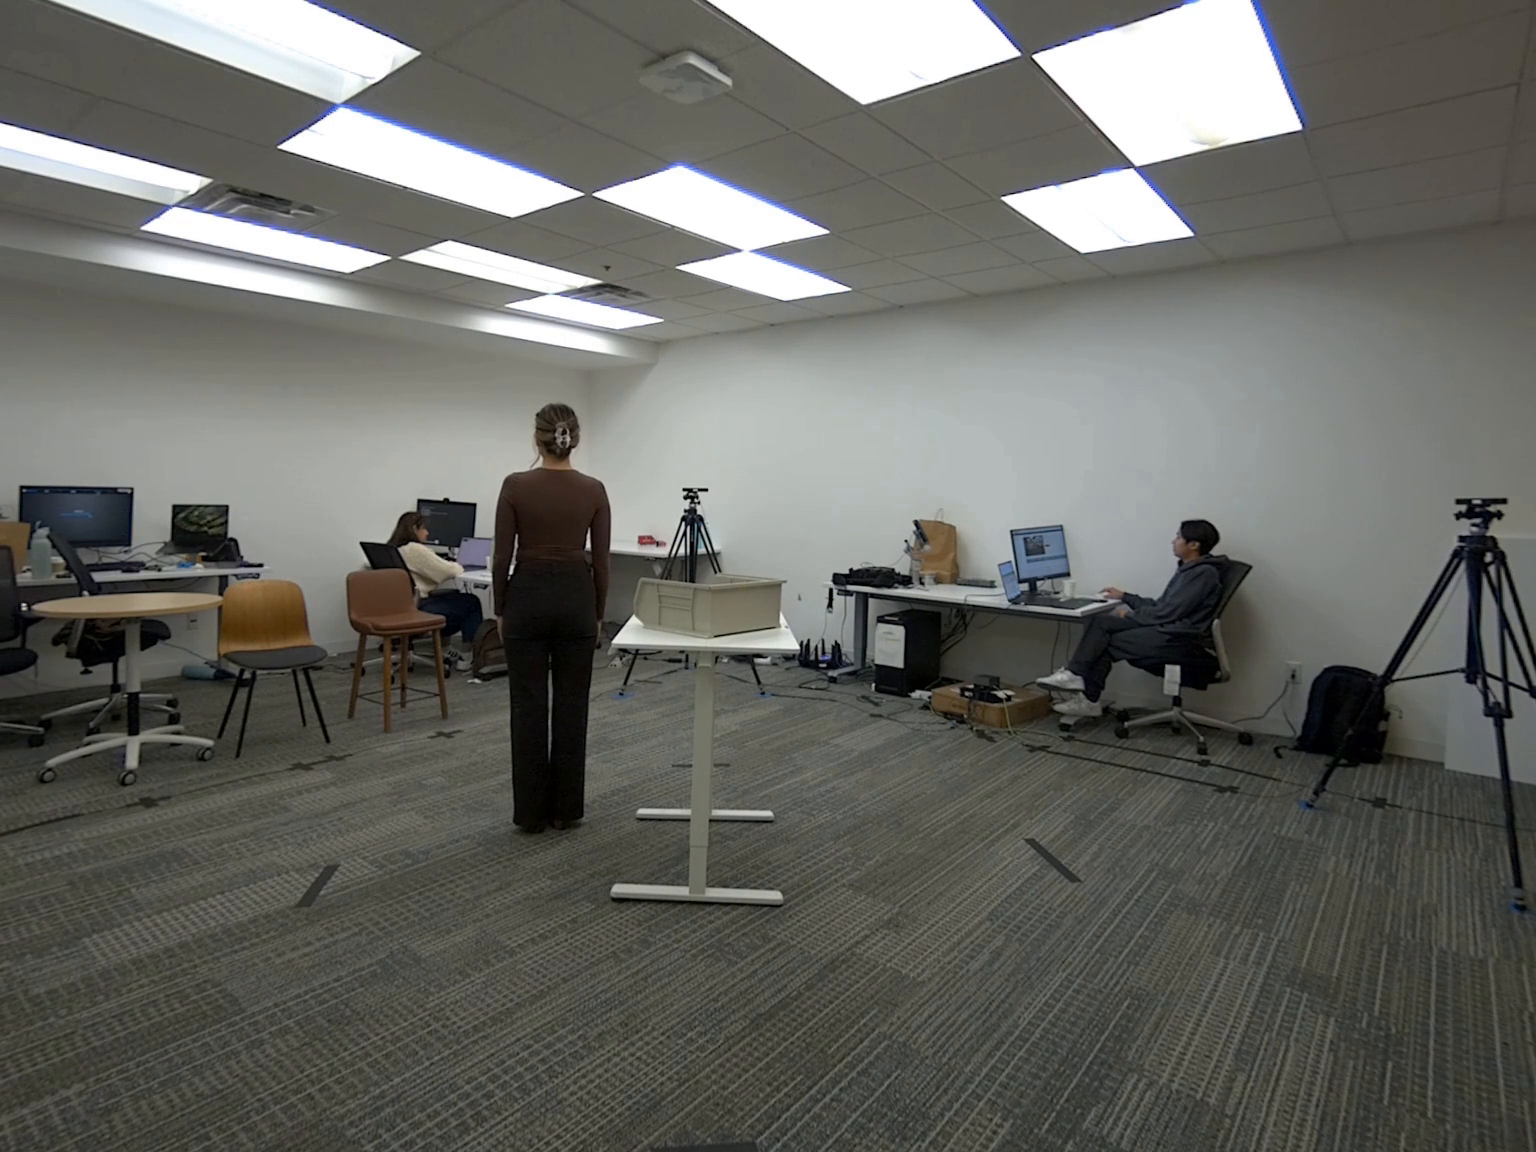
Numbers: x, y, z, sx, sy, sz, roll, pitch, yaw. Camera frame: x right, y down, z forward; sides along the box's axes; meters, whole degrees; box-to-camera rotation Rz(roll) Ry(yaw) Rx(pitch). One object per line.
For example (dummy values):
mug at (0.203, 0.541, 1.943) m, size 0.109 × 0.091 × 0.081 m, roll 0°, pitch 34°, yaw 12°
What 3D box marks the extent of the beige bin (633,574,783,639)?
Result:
beige bin at (-0.223, 0.097, 3.104) m, size 0.390 × 0.188 × 0.409 m, roll 7°, pitch 6°, yaw 39°
